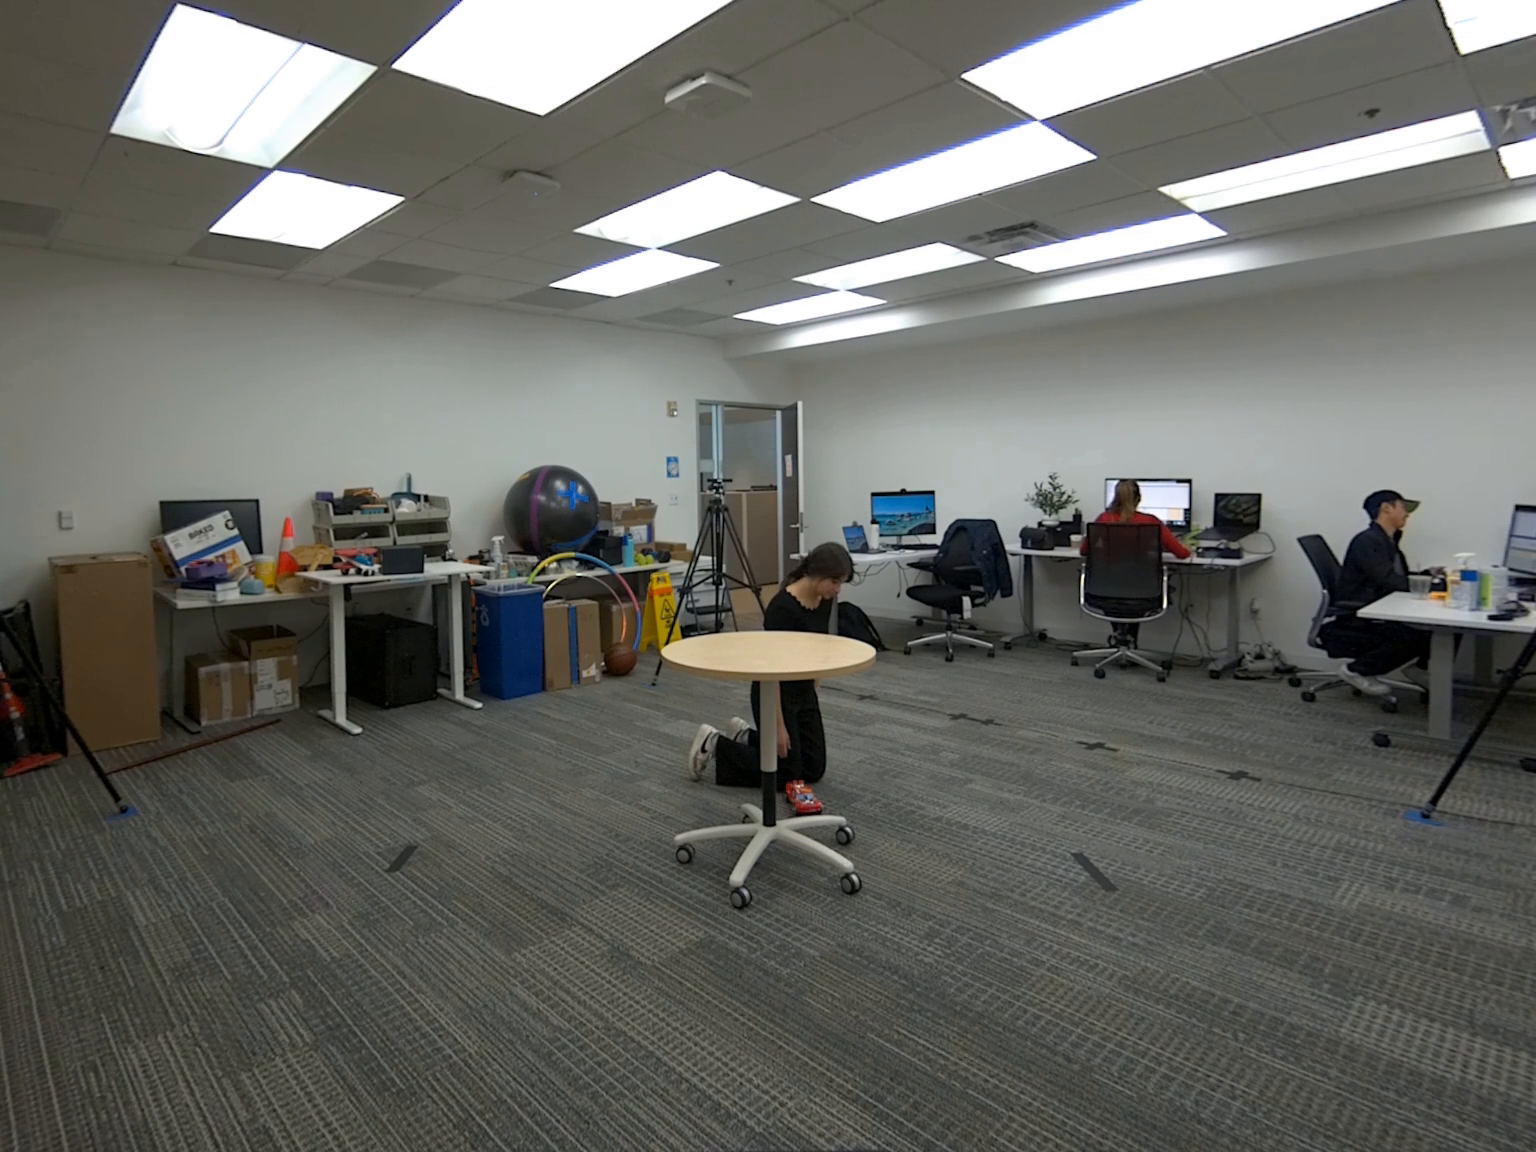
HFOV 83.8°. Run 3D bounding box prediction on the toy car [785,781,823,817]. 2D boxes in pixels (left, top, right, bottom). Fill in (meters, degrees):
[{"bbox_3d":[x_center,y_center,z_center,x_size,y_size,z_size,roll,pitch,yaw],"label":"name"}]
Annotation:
[{"bbox_3d":[0.147,0.954,3.651,0.129,0.082,0.261,-4,18,-11],"label":"toy car"}]
